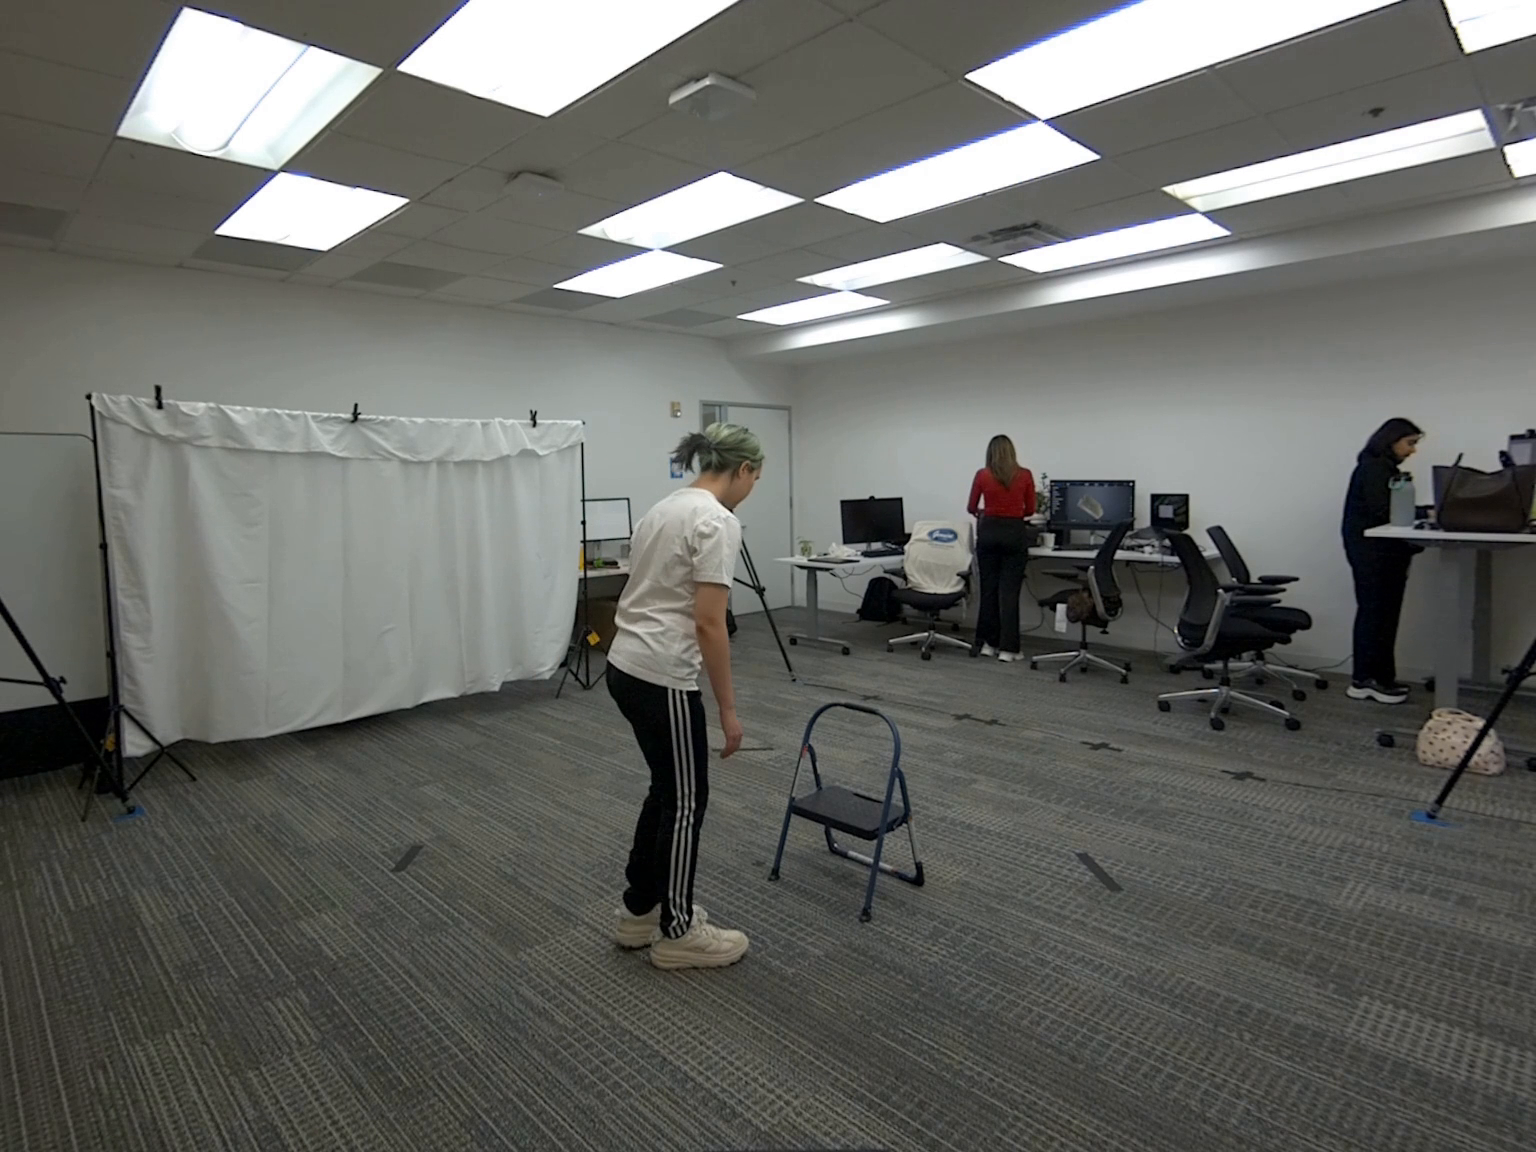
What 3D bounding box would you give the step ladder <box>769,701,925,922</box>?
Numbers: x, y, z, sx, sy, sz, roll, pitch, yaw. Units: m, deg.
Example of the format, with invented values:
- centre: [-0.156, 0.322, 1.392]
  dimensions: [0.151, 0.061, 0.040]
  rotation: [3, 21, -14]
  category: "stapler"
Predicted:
- centre: [0.267, 0.757, 2.936]
  dimensions: [0.444, 0.603, 0.340]
  rotation: [4, 7, 45]
  category: "step ladder"
